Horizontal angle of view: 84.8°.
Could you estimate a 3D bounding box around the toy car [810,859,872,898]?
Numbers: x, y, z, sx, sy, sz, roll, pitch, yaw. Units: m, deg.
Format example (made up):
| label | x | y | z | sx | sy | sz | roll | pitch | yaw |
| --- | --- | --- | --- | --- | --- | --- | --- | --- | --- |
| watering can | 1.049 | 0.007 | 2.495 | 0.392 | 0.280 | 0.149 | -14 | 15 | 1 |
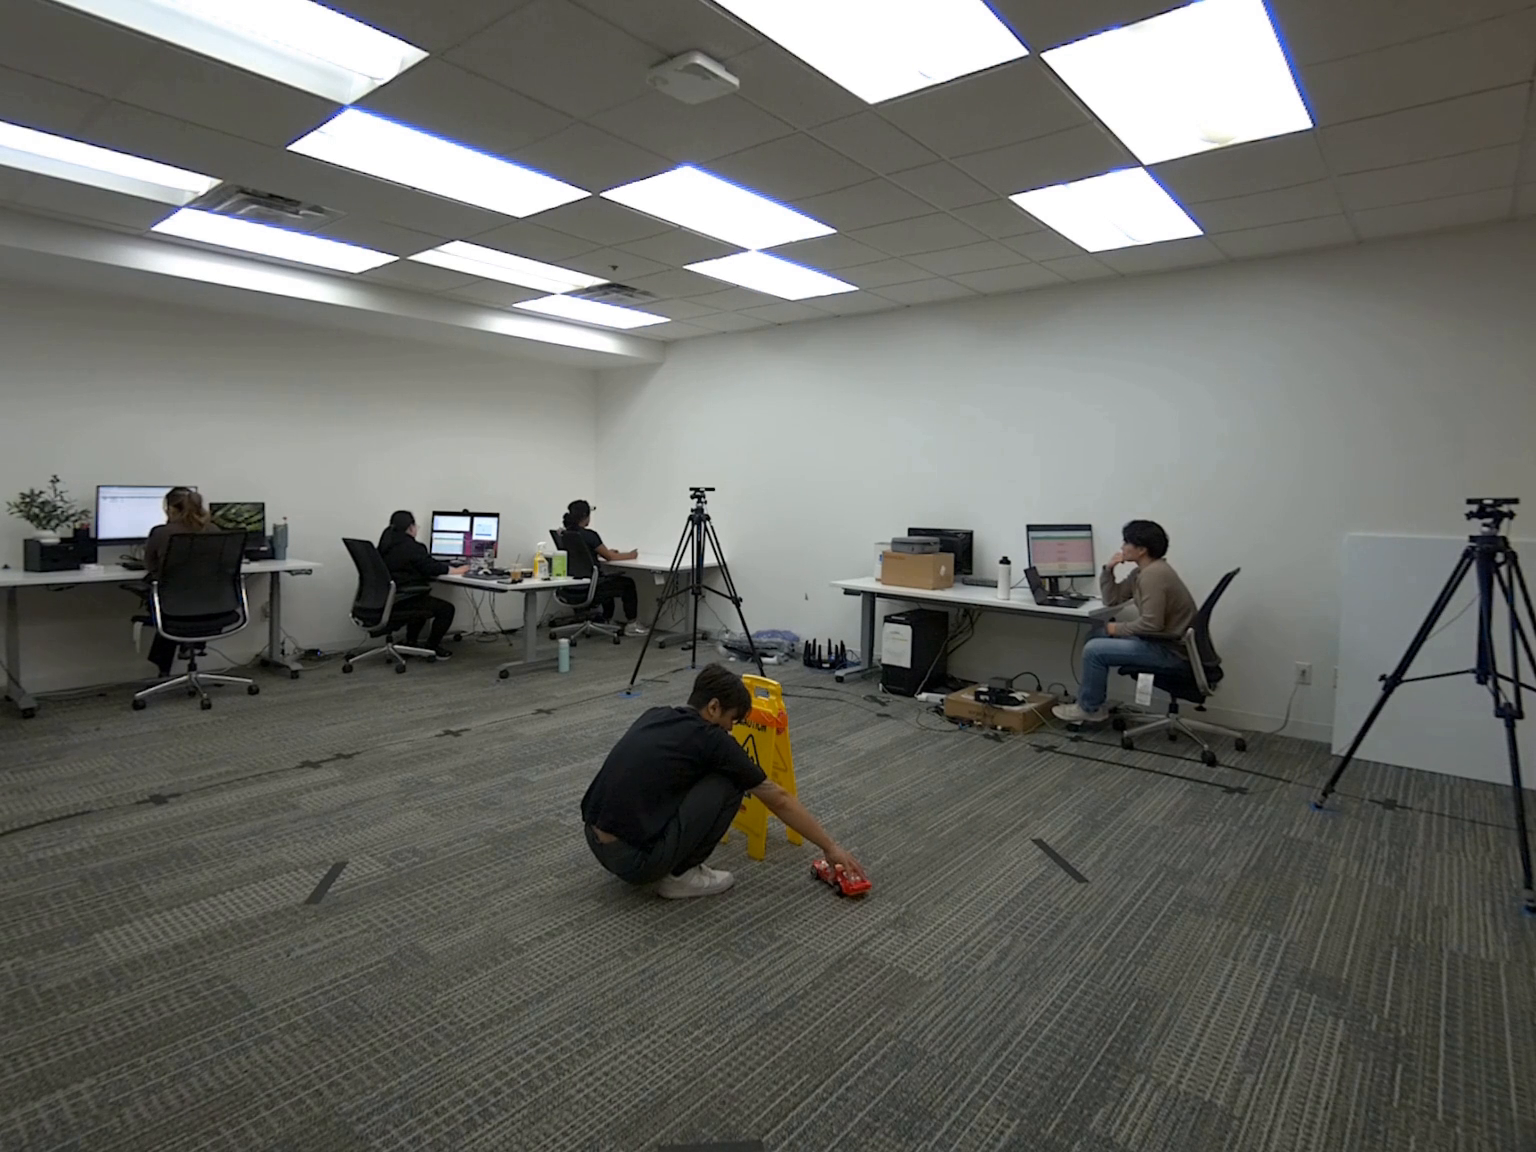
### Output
| label | x | y | z | sx | sy | sz | roll | pitch | yaw |
| --- | --- | --- | --- | --- | --- | --- | --- | --- | --- |
| toy car | 0.248 | 1.058 | 2.990 | 0.127 | 0.083 | 0.260 | -3 | -2 | -29 |
